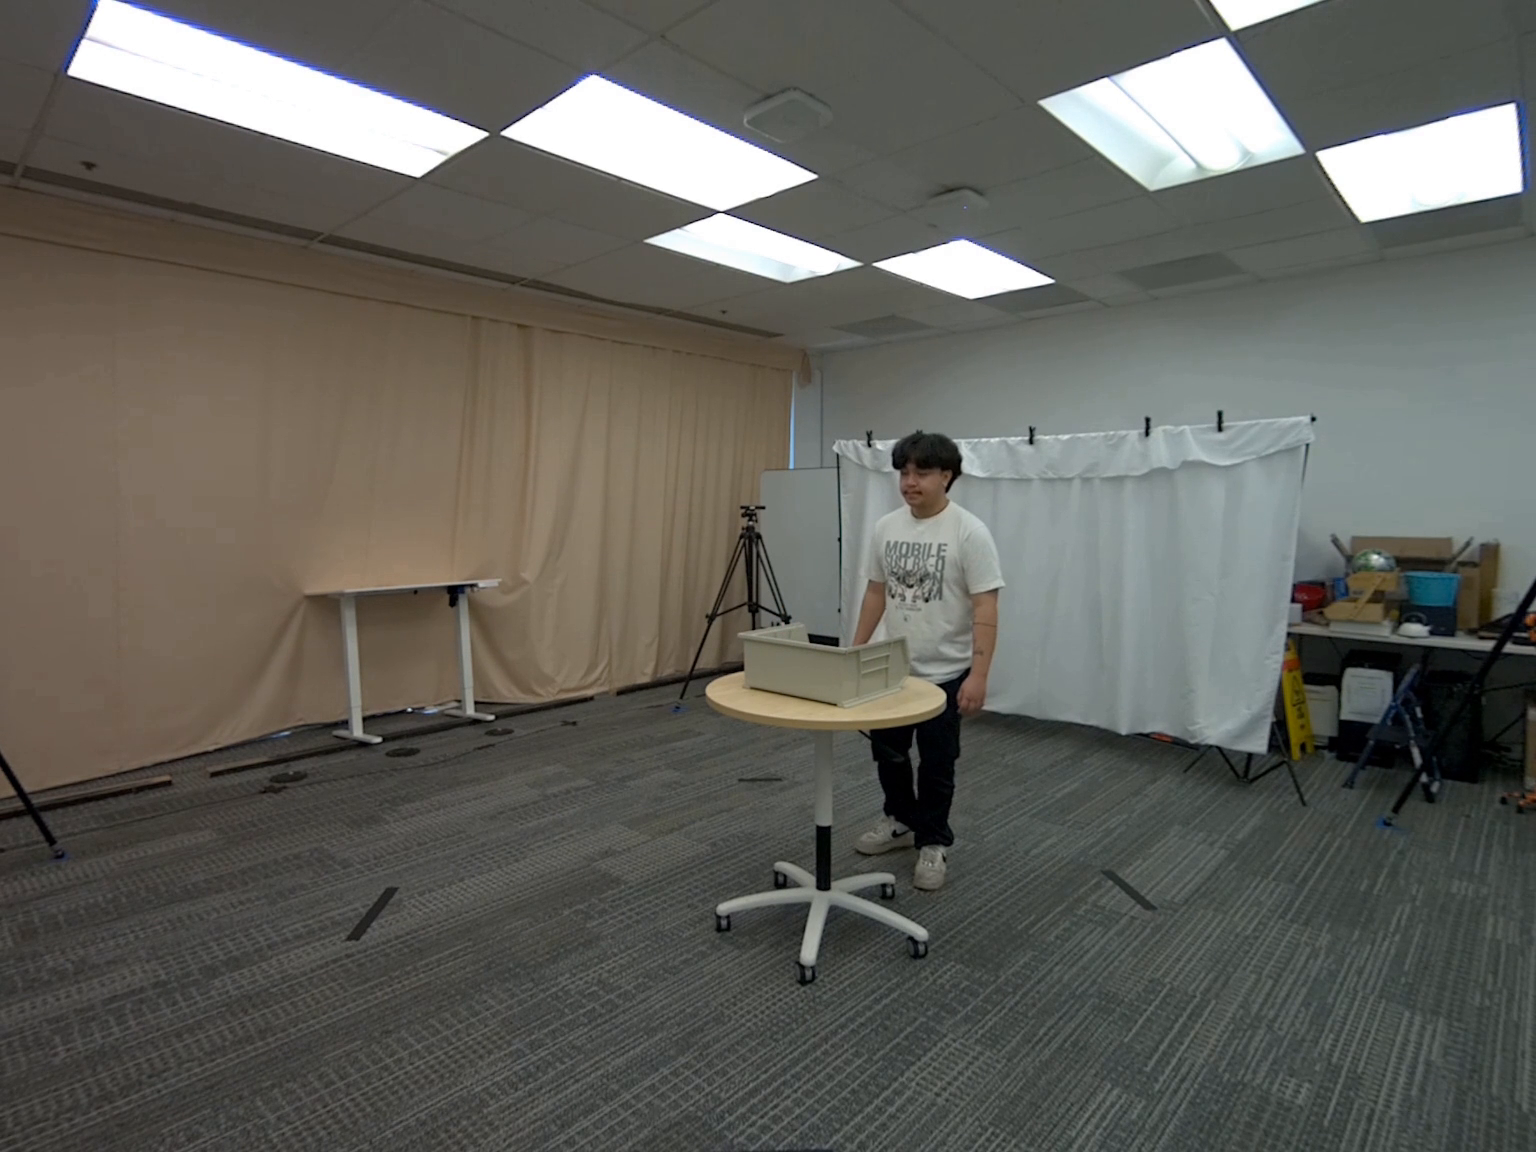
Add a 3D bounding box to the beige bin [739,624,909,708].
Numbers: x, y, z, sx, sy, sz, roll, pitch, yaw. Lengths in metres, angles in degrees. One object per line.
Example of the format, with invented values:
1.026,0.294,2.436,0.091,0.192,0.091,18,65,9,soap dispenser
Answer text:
0.186,0.280,2.743,0.436,0.188,0.366,5,8,40,beige bin
